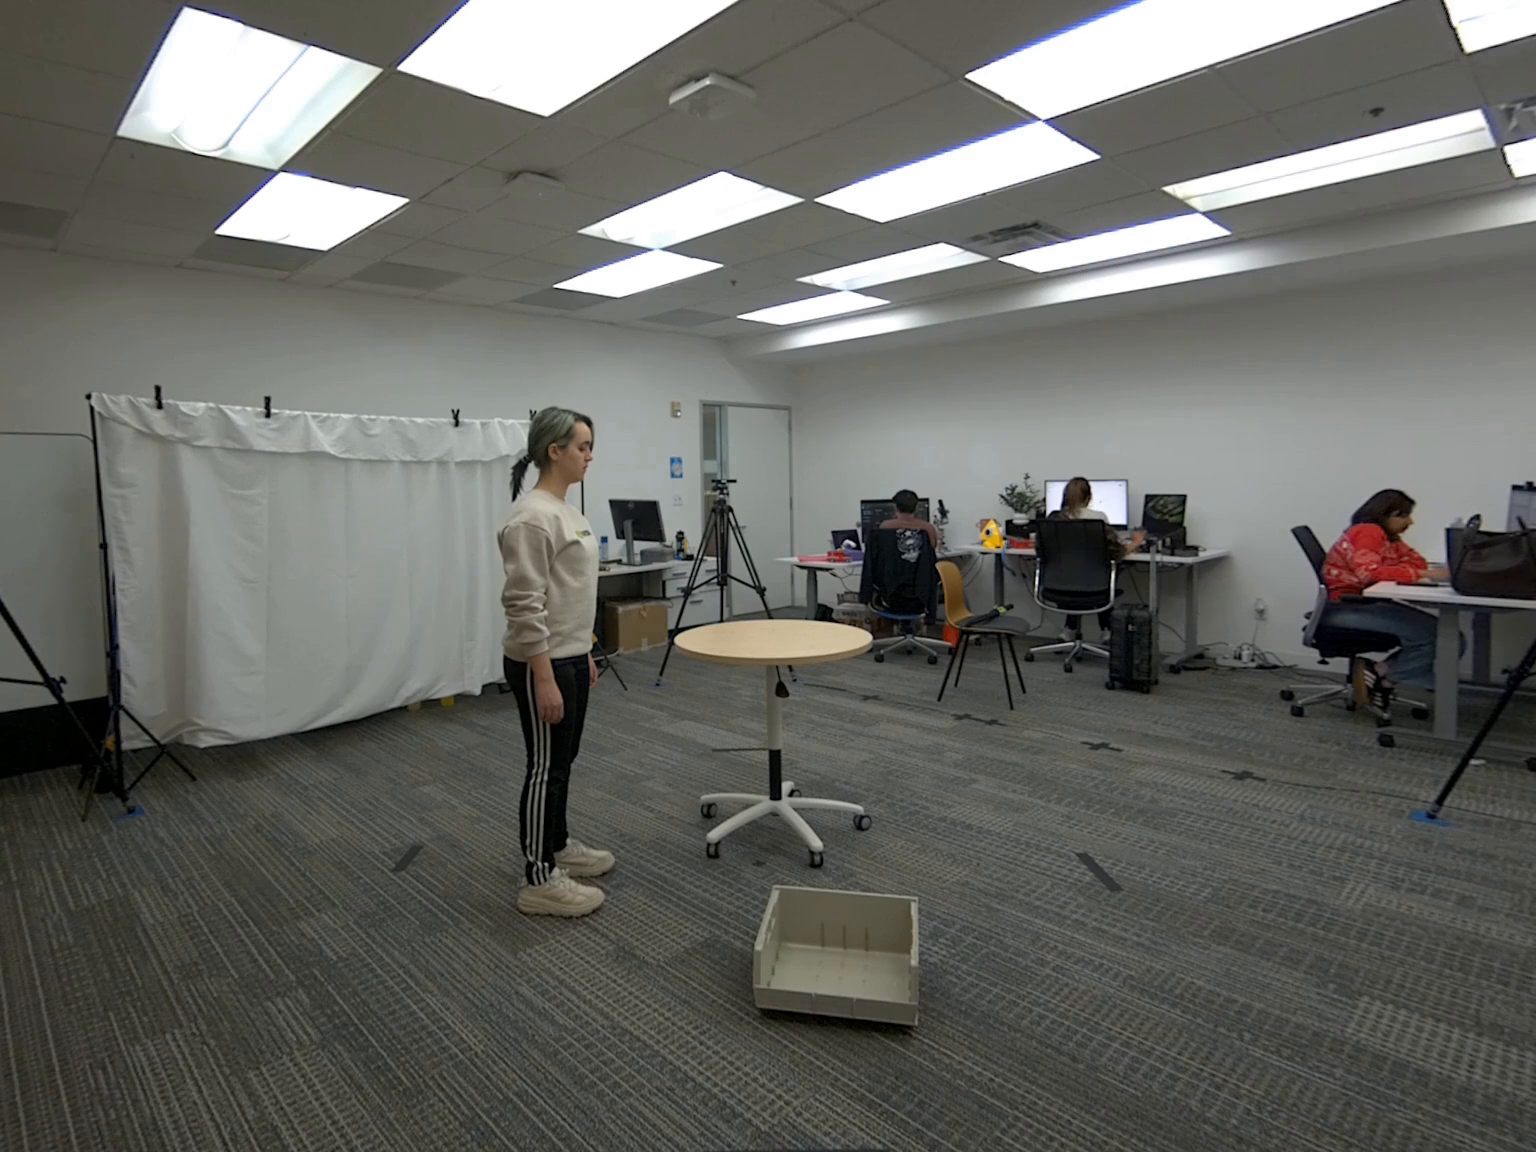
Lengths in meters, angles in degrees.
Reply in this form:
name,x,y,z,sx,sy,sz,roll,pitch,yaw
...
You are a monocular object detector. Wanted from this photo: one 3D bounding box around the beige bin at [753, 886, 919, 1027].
name,x,y,z,sx,sy,sz,roll,pitch,yaw
beige bin,0.203,1.042,2.338,0.427,0.188,0.374,0,5,11
